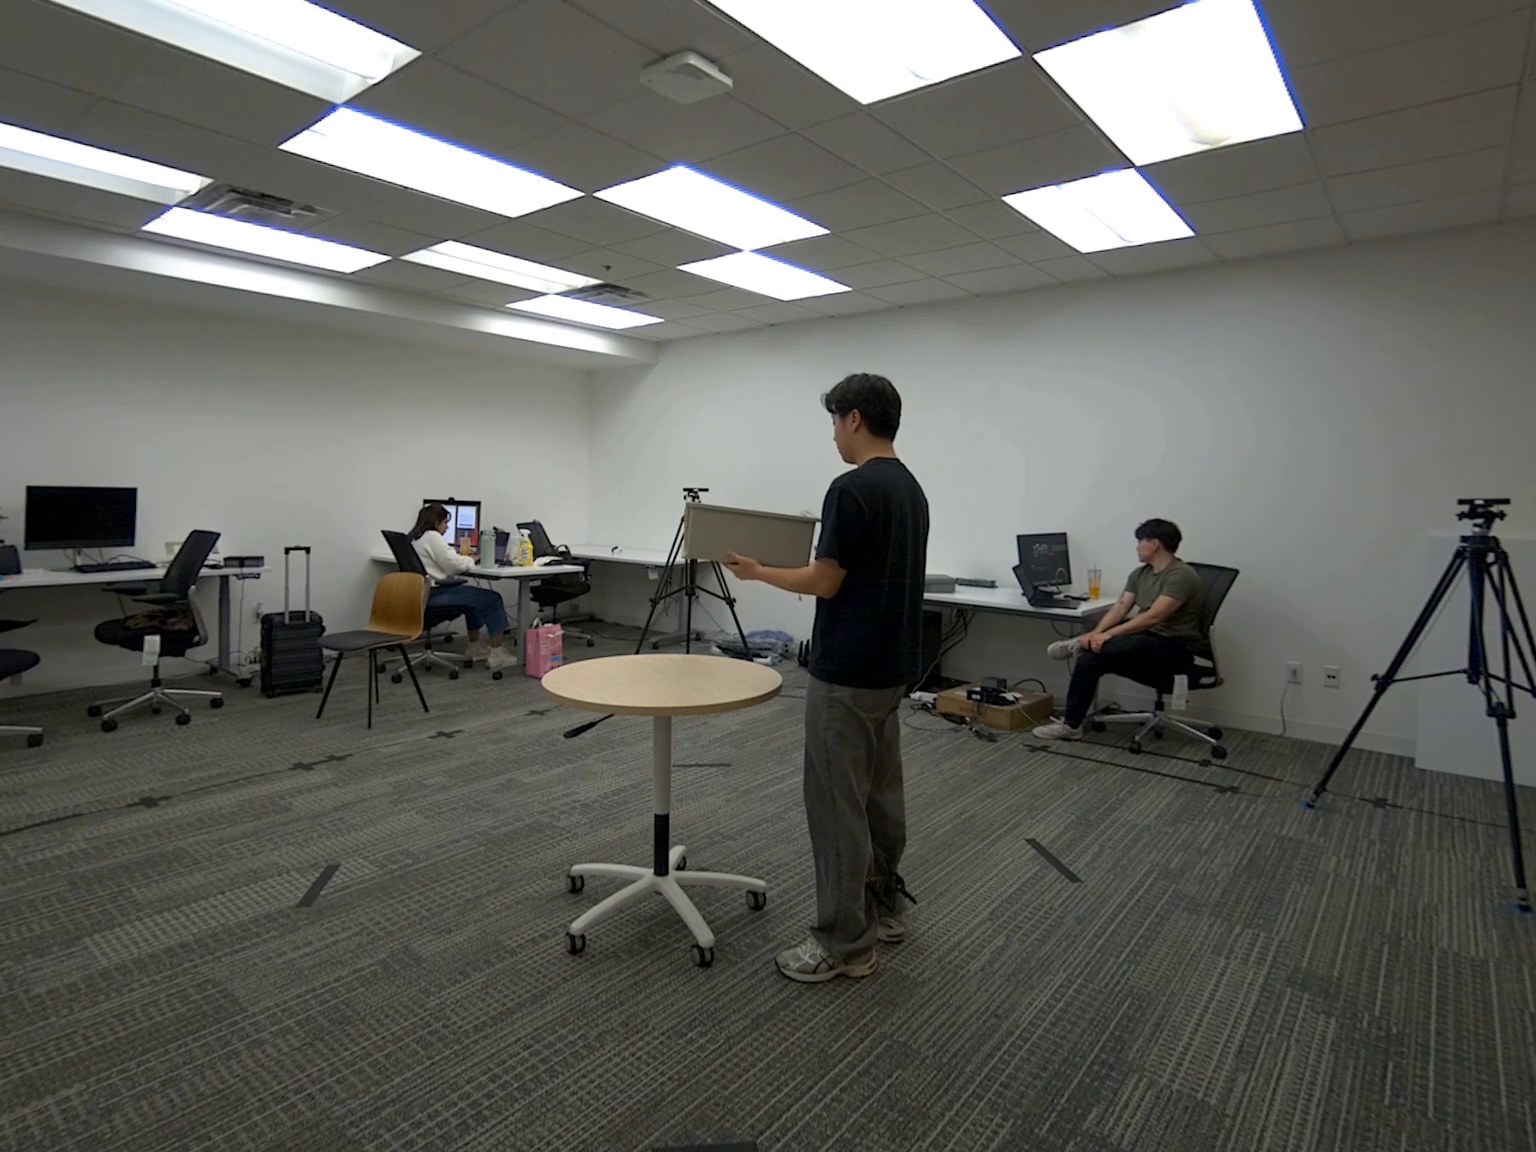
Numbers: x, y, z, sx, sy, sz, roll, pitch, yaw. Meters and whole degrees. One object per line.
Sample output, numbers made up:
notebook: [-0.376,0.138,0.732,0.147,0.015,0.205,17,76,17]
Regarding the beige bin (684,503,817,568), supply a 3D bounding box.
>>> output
beige bin: [-0.072,-0.142,2.815,0.421,0.188,0.381,7,8,-4]
